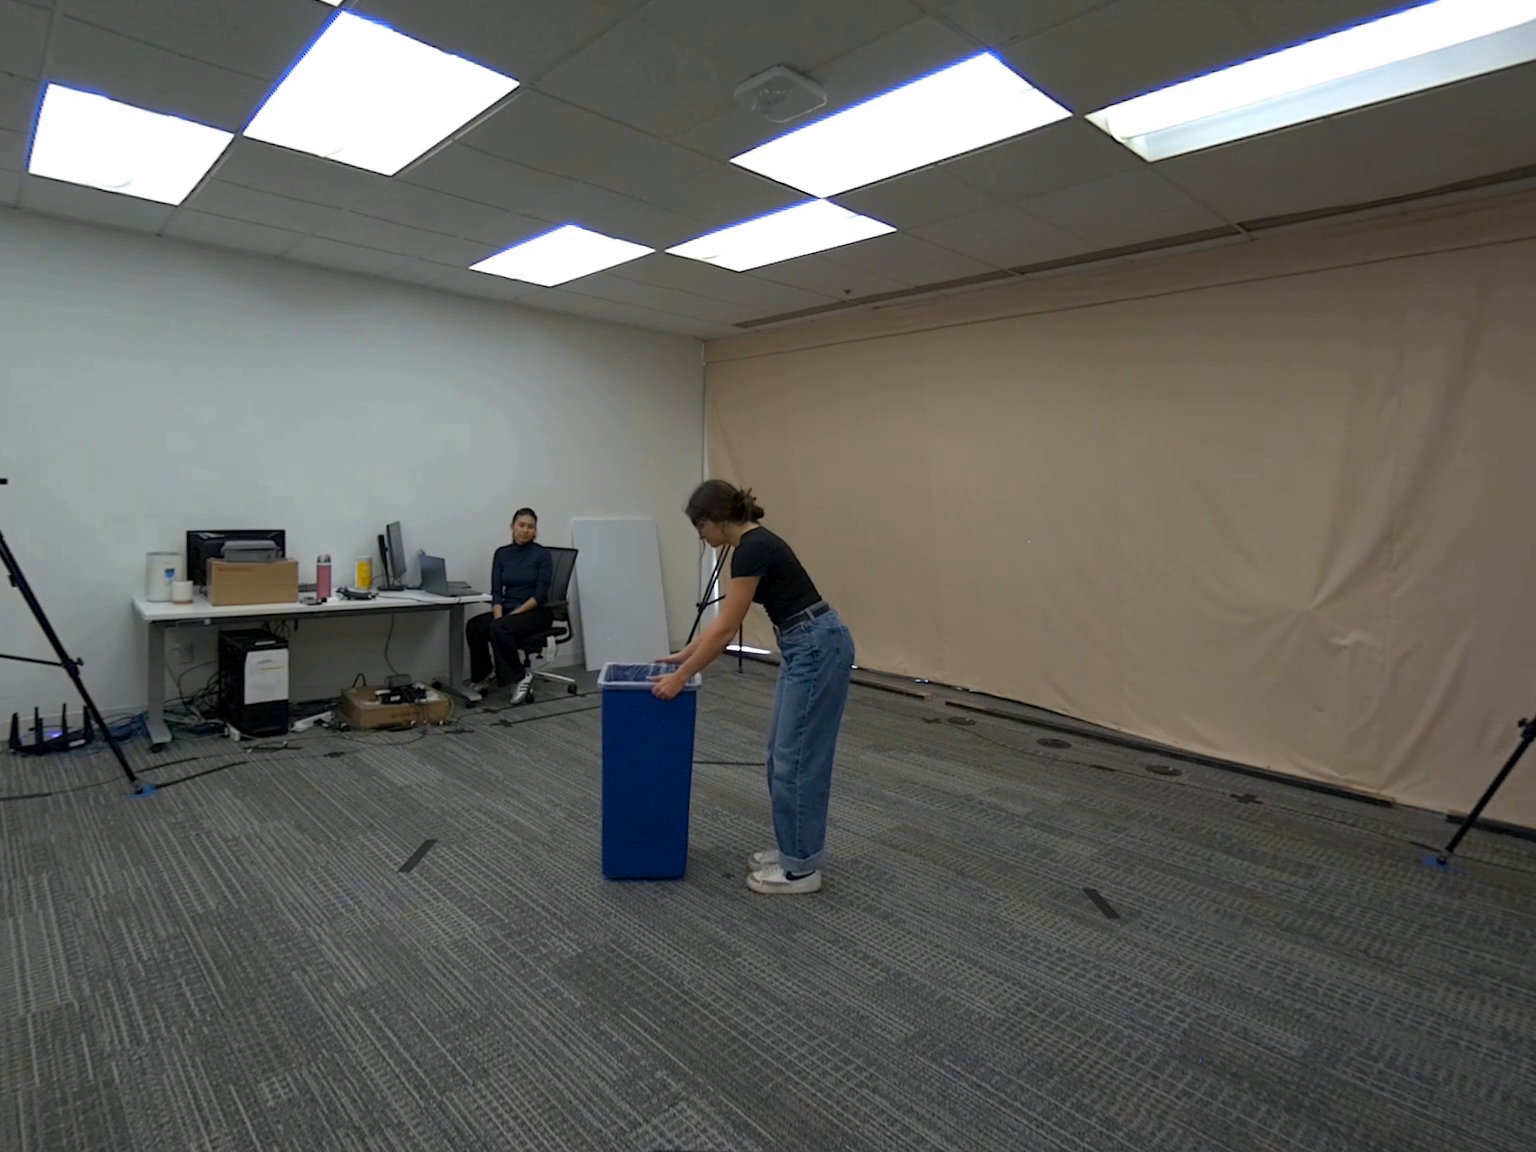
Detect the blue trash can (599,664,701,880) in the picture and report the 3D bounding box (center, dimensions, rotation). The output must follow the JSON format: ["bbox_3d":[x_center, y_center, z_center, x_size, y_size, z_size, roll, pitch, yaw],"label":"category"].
[{"bbox_3d":[-0.454,0.710,3.157,0.376,0.712,0.377,1,3,-7],"label":"blue trash can"}]
